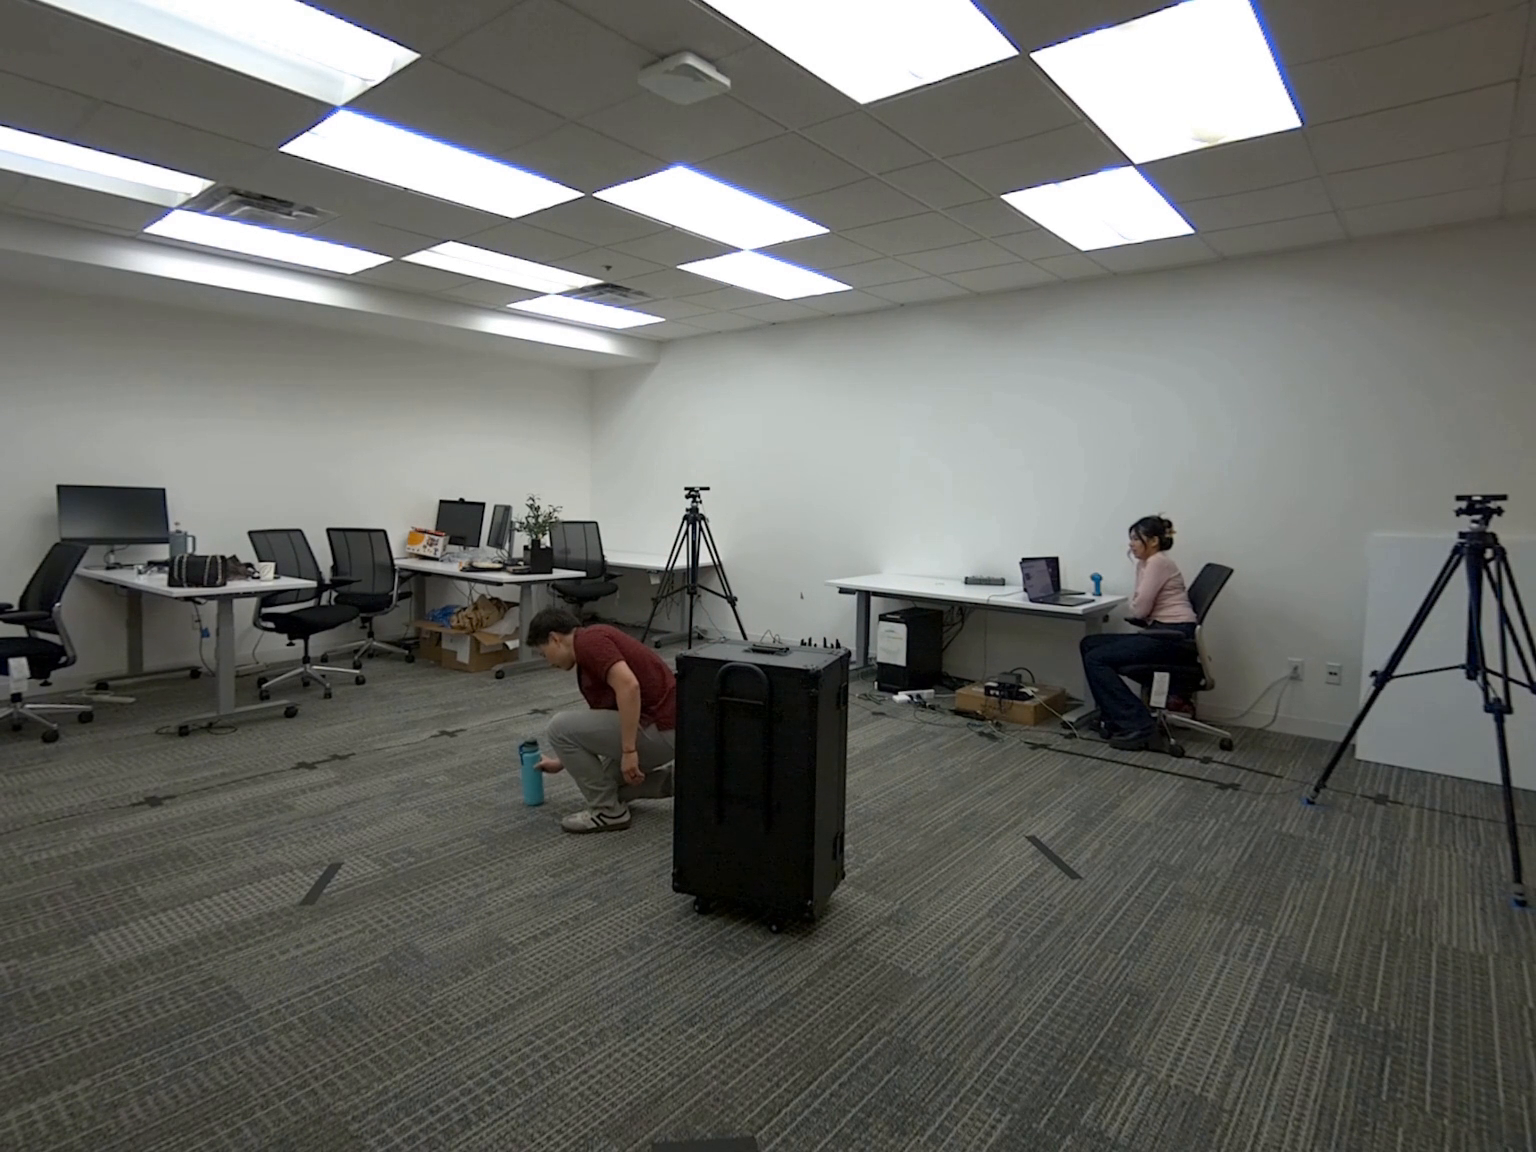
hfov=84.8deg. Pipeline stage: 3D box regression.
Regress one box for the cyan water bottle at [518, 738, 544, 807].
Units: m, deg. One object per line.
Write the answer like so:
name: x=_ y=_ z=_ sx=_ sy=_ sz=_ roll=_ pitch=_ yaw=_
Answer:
cyan water bottle: x=-1.058 y=0.852 z=3.738 sx=0.092 sy=0.282 sz=0.093 roll=-6 pitch=4 yaw=-1
